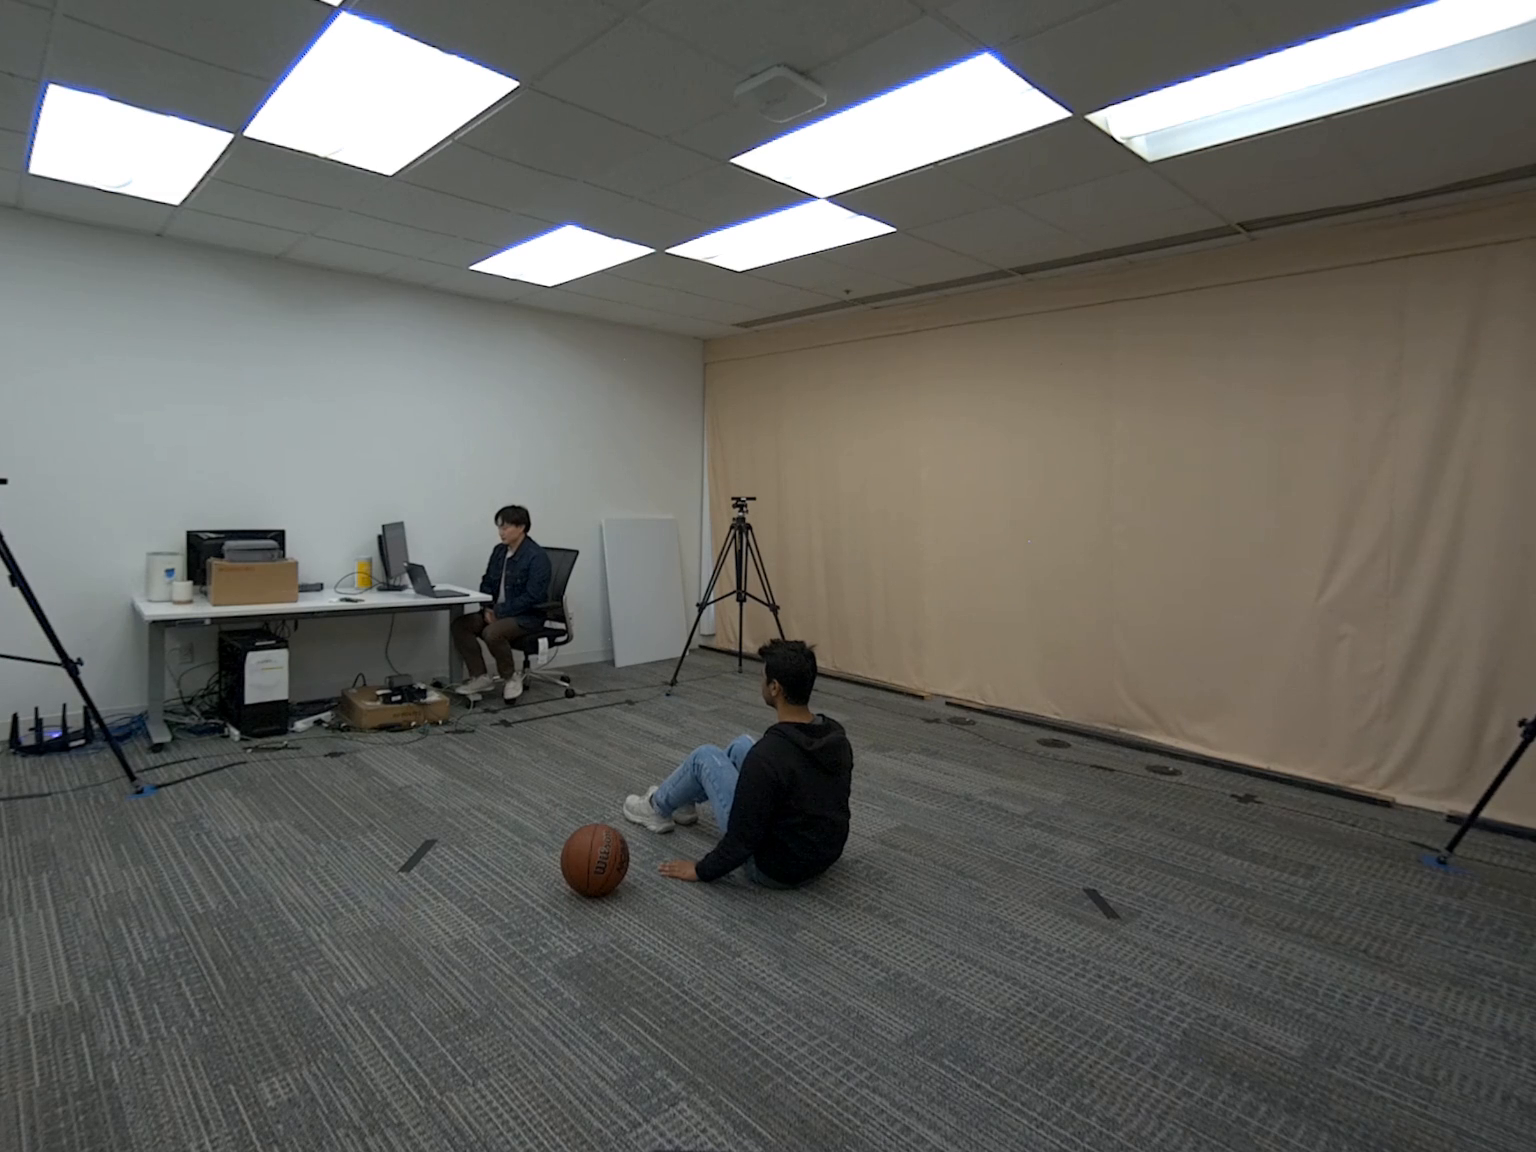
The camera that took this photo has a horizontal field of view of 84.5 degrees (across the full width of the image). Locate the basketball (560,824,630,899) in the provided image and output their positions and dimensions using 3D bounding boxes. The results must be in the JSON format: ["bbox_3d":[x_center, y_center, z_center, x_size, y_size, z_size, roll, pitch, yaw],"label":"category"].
[{"bbox_3d":[-0.604,0.984,2.946,0.236,0.235,0.237,1,4,-1],"label":"basketball"}]
